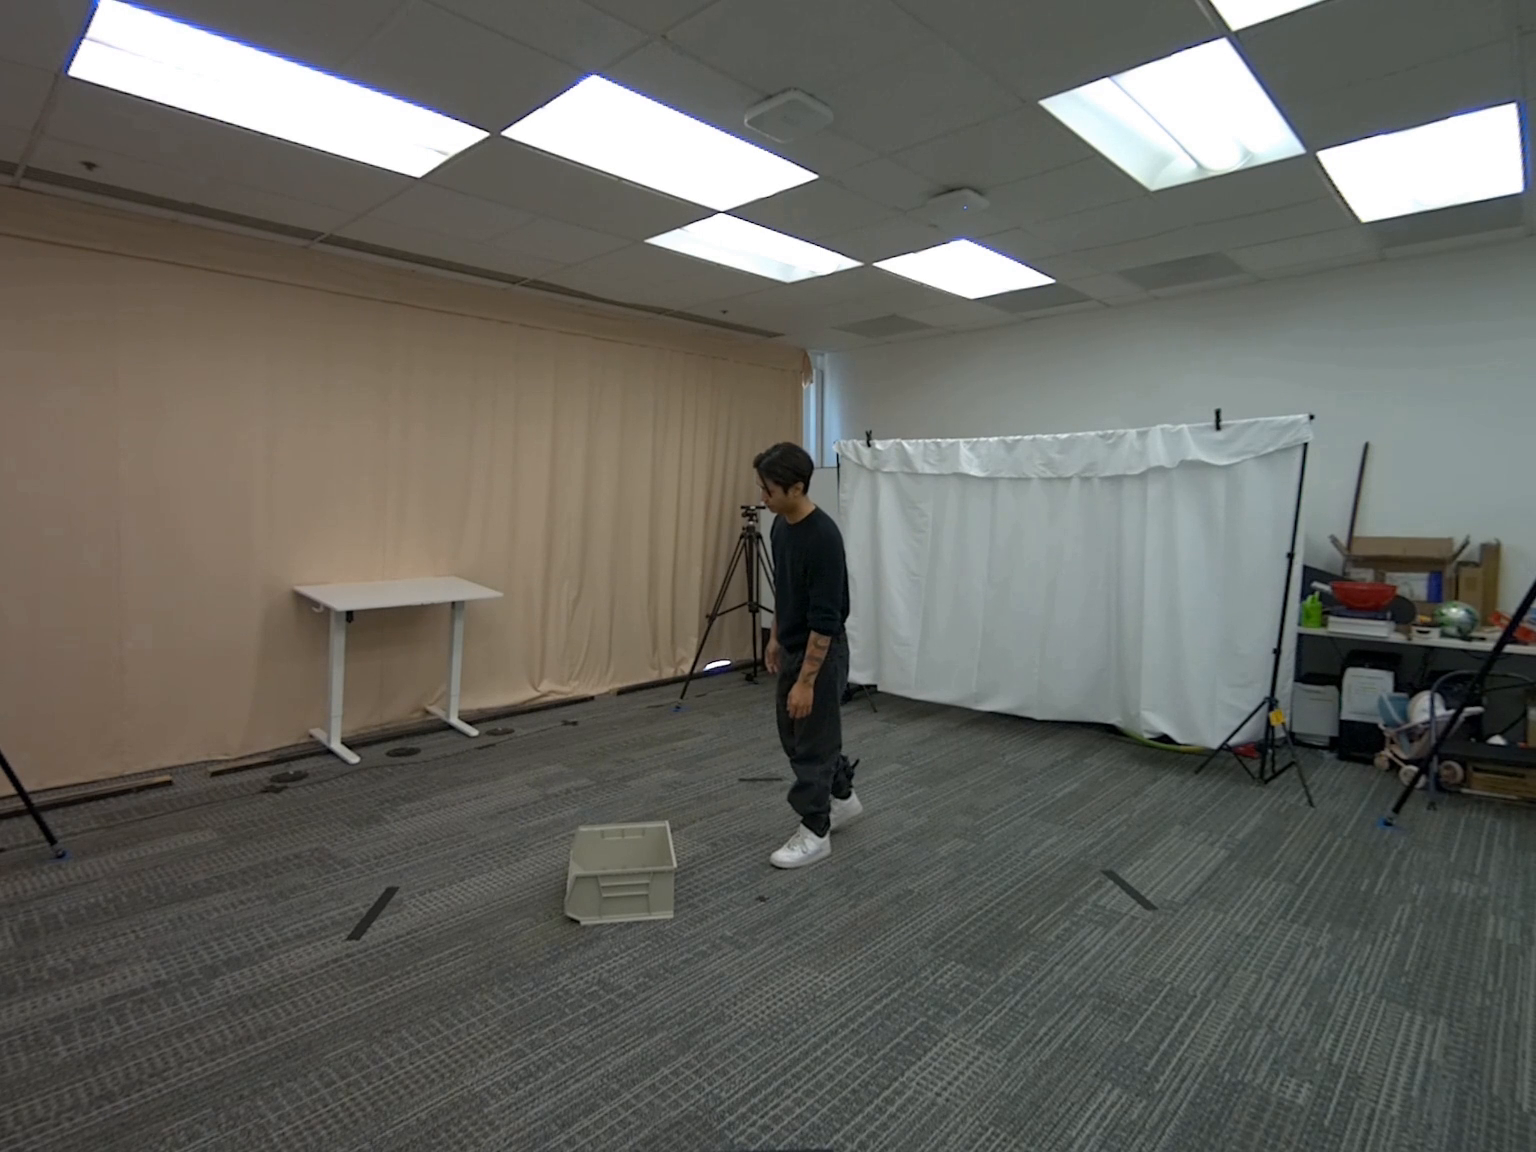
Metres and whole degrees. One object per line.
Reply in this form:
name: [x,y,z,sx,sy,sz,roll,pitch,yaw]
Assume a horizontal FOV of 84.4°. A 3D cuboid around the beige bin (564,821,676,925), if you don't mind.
beige bin: [-0.544,1.075,3.022,0.374,0.188,0.427,1,4,-10]
